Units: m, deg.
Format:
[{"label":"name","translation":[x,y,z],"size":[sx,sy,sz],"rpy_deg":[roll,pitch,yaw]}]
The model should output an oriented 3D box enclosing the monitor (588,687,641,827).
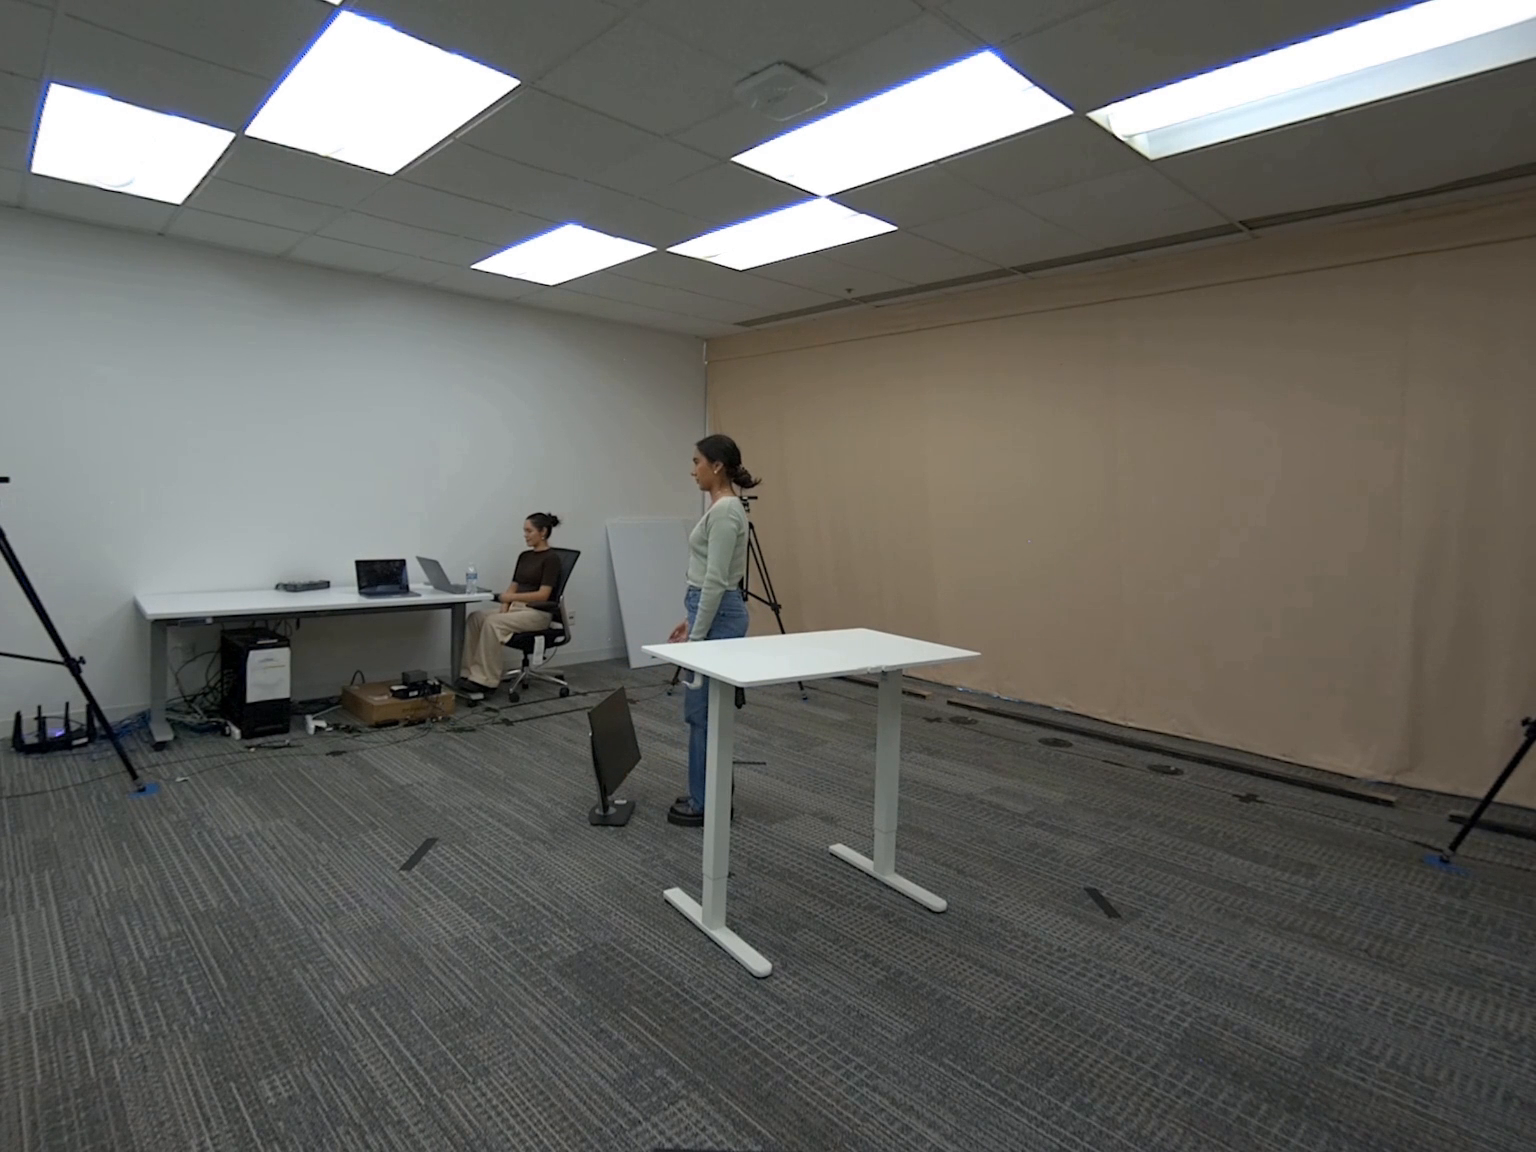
[{"label":"monitor","translation":[-0.685,0.783,3.663],"size":[0.187,0.522,0.538],"rpy_deg":[0,2,2]}]
